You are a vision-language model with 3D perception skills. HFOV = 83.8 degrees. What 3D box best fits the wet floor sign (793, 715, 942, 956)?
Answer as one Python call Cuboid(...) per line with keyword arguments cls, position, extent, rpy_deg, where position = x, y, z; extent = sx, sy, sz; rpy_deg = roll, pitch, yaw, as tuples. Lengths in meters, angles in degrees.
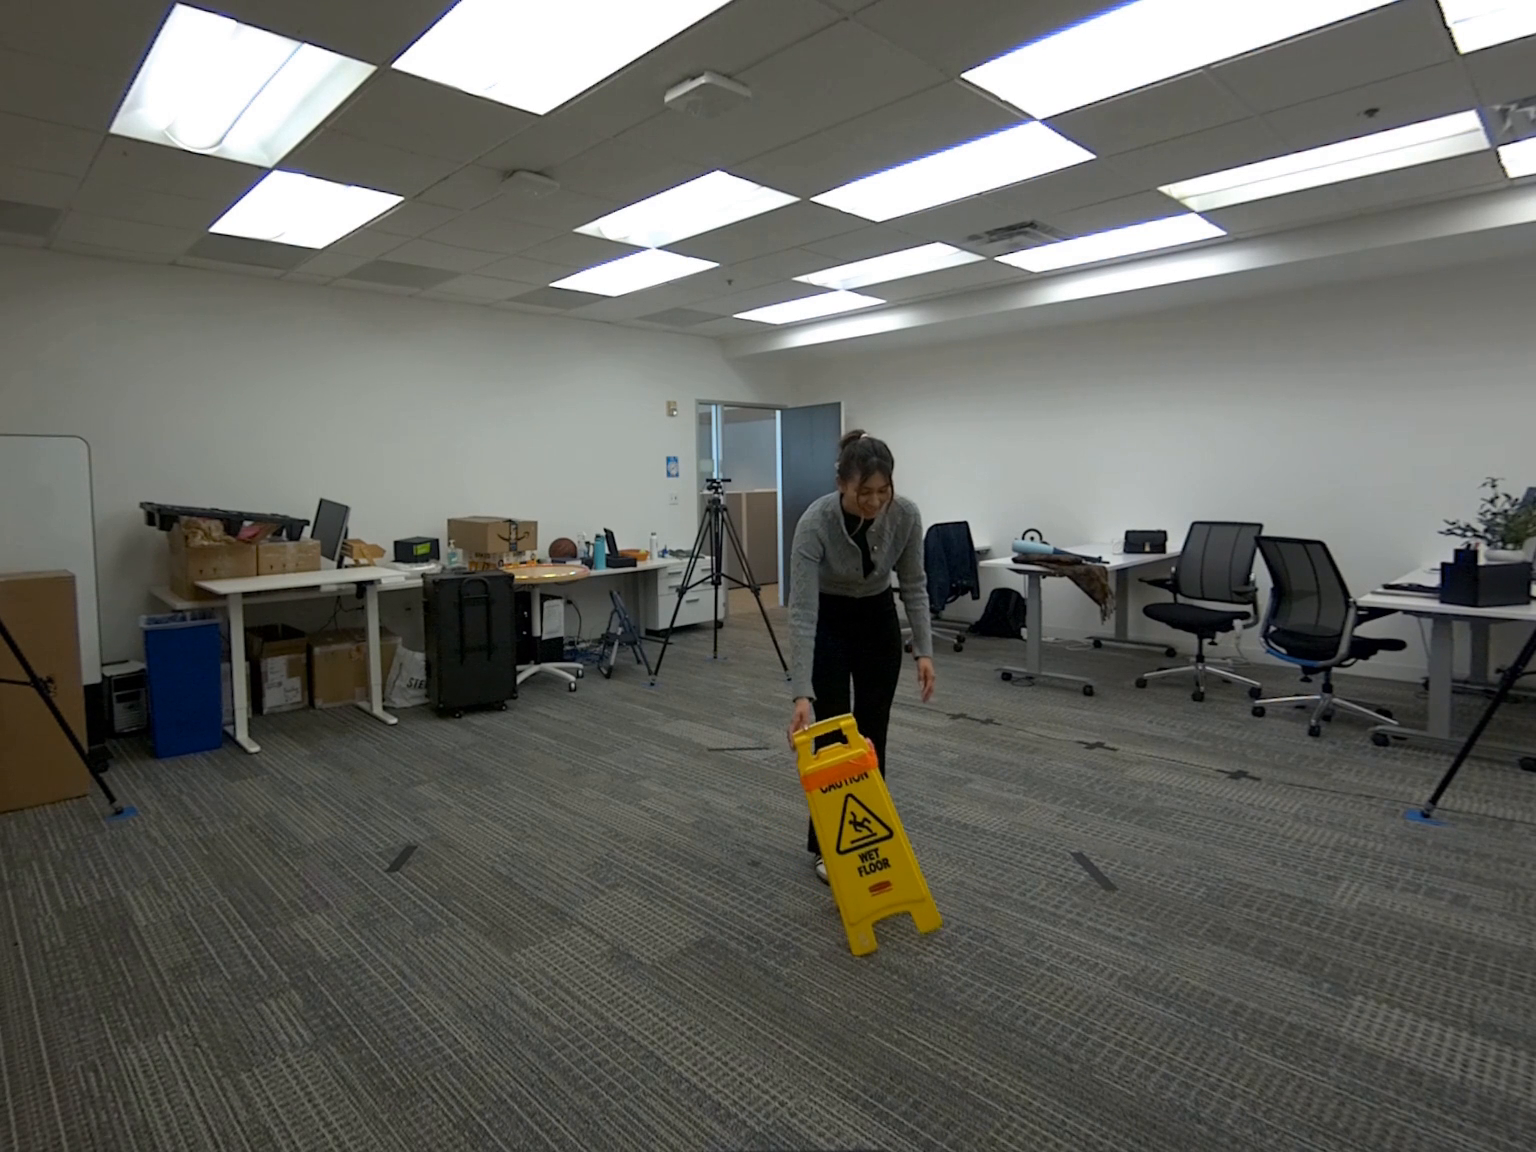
Cuboid(cls="wet floor sign", position=(0.266, 0.752, 2.613), extent=(0.282, 0.642, 0.292), rpy_deg=(-20, 5, -2))
